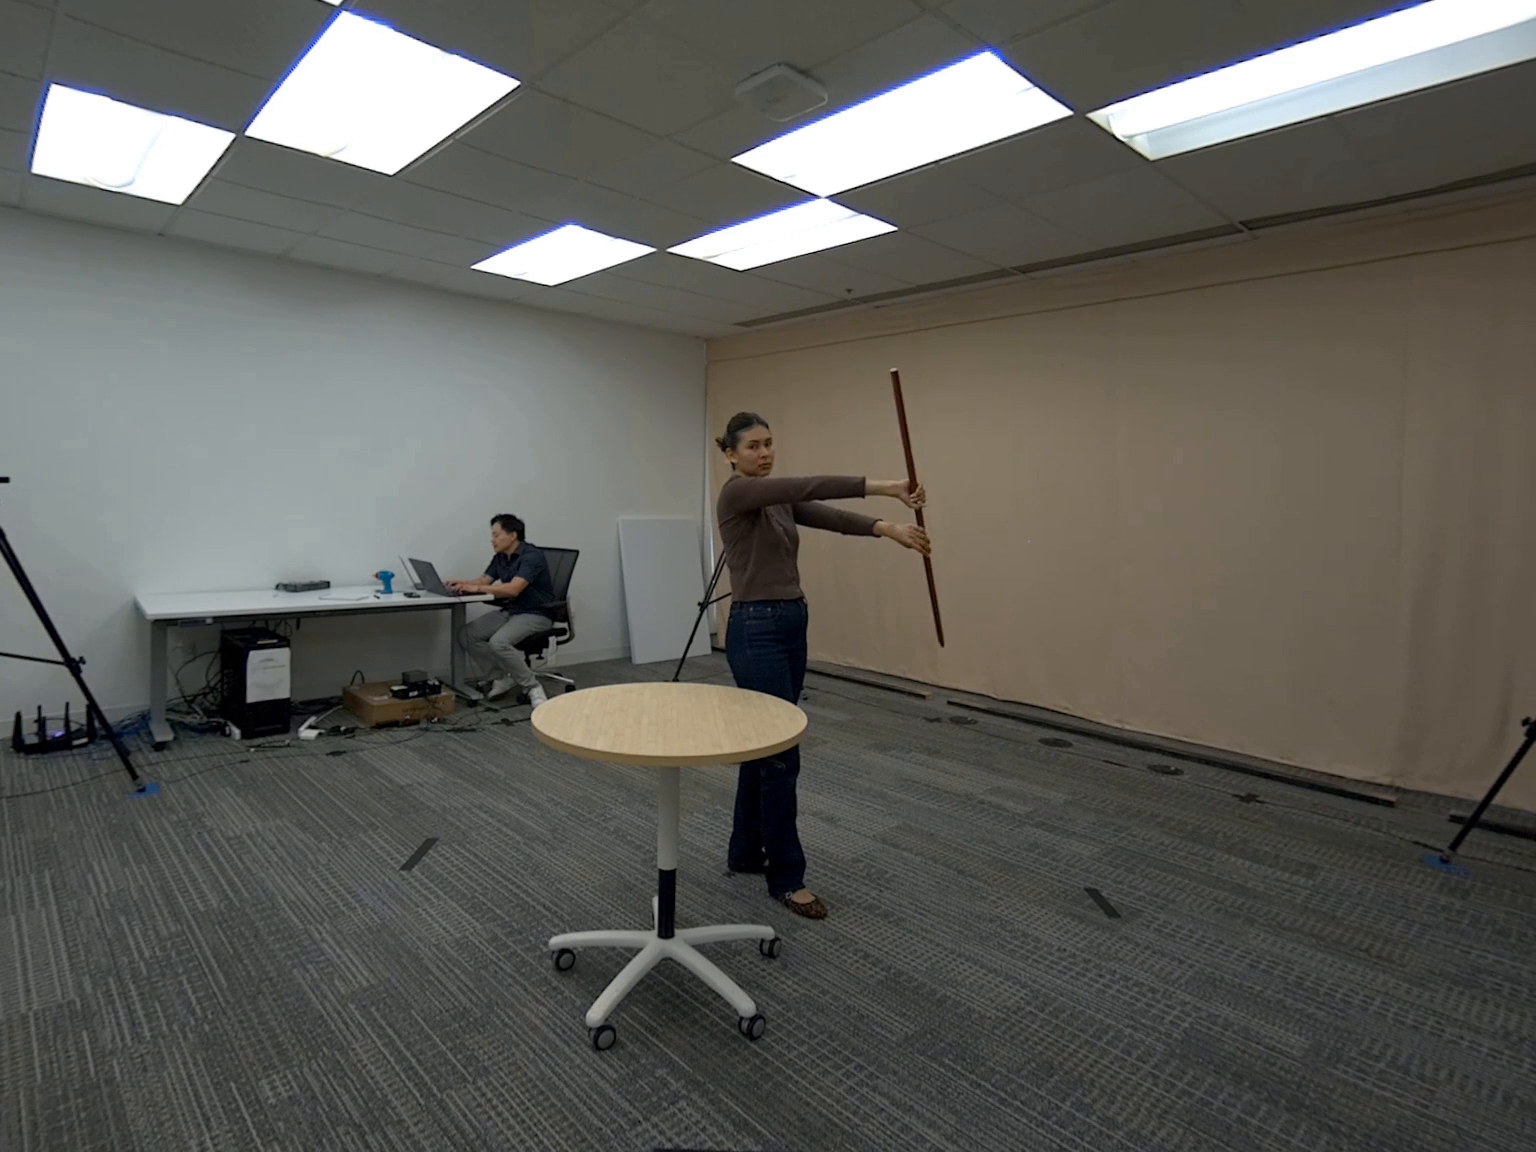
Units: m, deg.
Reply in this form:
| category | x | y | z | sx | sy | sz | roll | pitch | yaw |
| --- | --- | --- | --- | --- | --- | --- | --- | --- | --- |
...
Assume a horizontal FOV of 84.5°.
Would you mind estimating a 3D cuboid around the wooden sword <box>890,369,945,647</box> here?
| category | x | y | z | sx | sy | sz | roll | pitch | yaw |
| --- | --- | --- | --- | --- | --- | --- | --- | --- | --- |
| wooden sword | 0.497 | -0.197 | 2.770 | 0.024 | 1.002 | 0.052 | -6 | 28 | 13 |
